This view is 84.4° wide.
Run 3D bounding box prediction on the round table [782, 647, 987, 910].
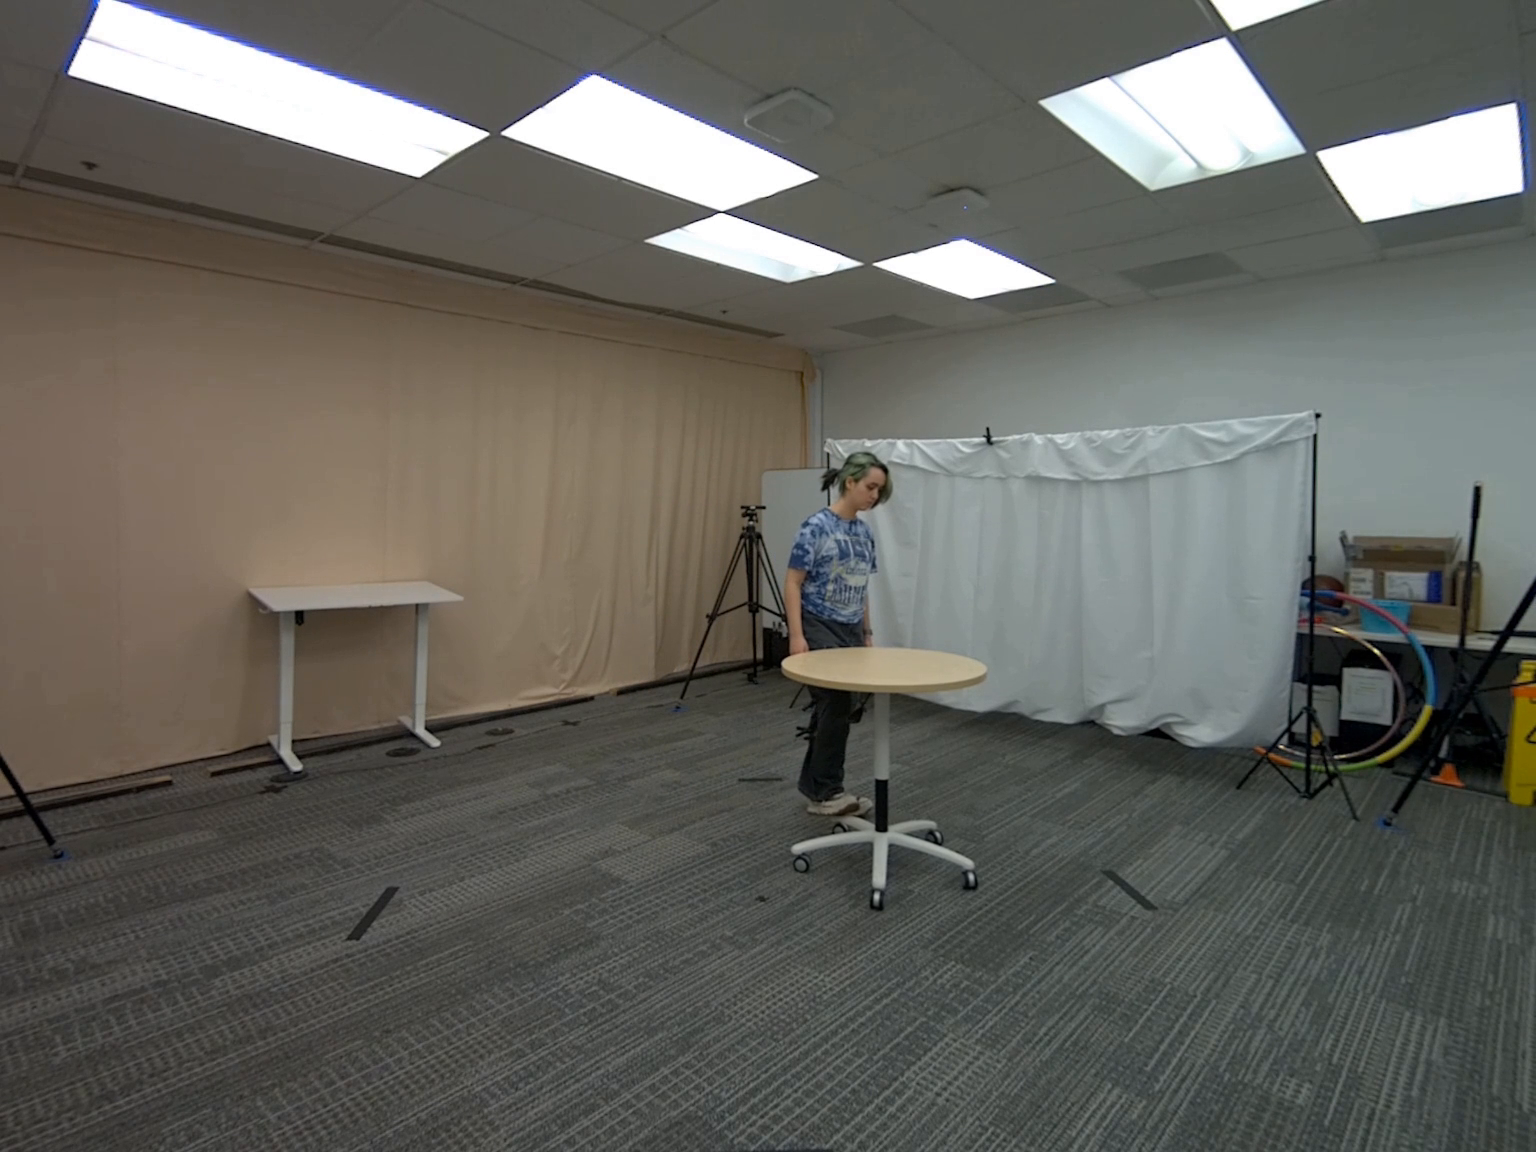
[{"bbox_3d":[0.438,0.730,3.228,0.763,0.792,0.766,0,3,-2],"label":"round table"}]
